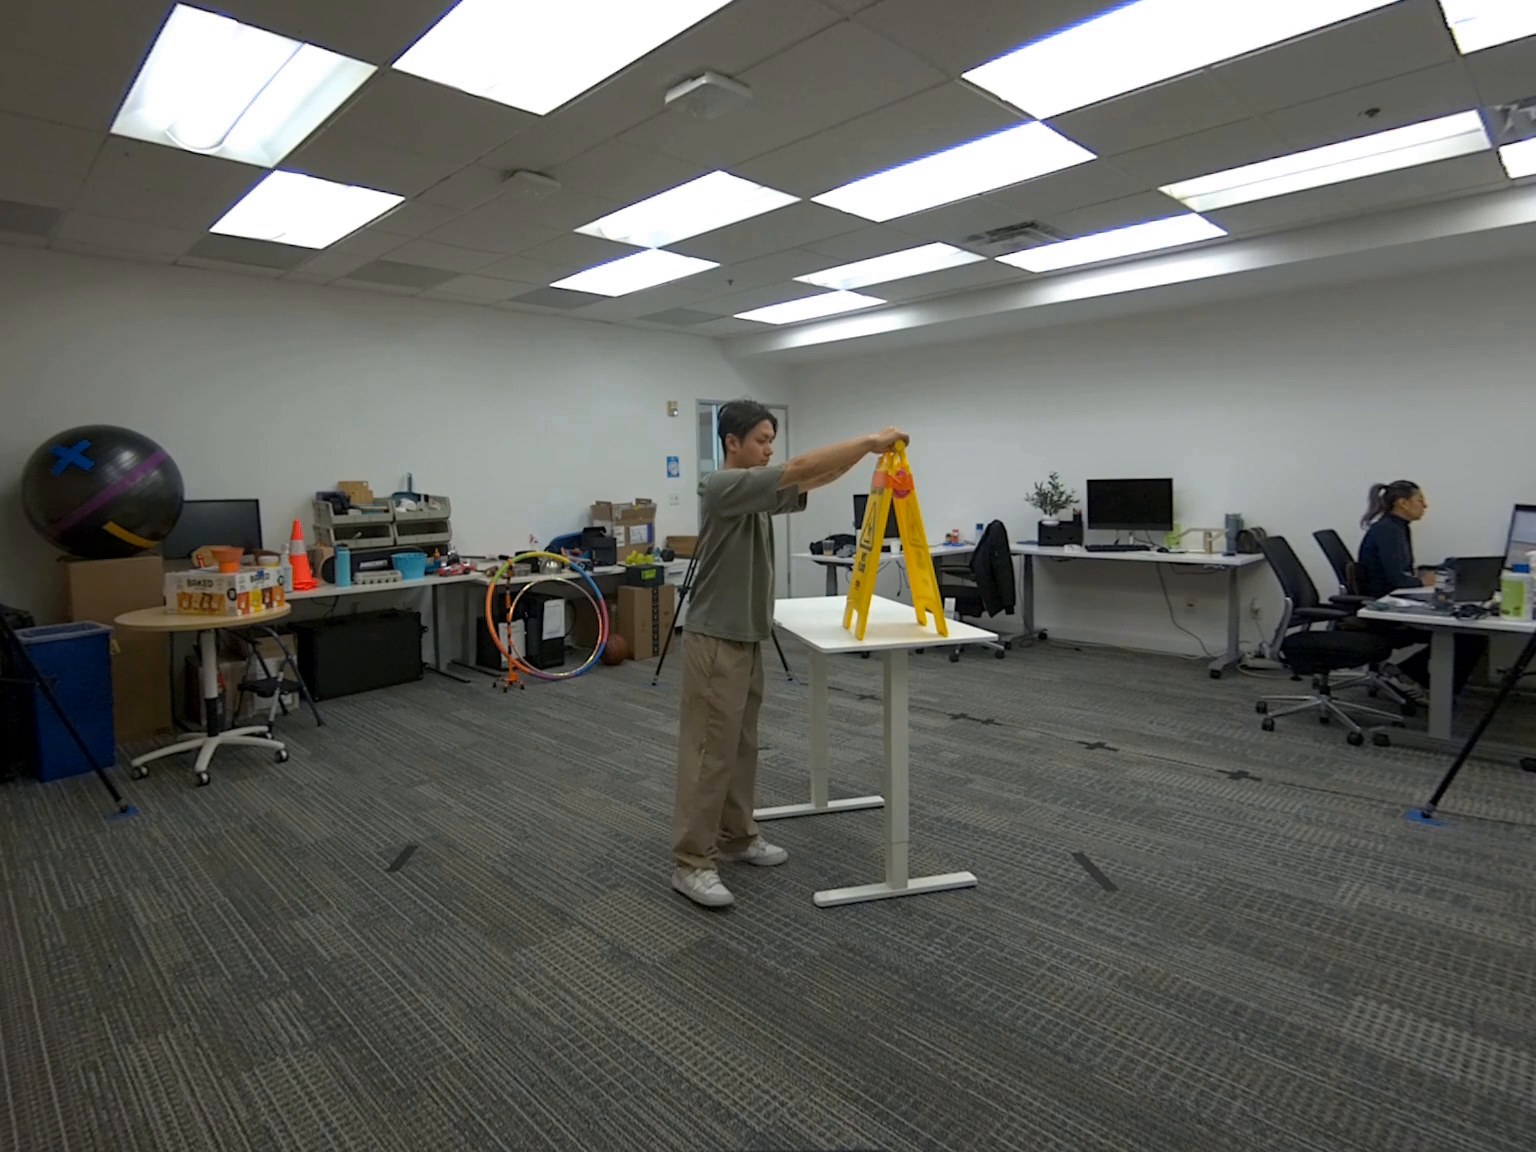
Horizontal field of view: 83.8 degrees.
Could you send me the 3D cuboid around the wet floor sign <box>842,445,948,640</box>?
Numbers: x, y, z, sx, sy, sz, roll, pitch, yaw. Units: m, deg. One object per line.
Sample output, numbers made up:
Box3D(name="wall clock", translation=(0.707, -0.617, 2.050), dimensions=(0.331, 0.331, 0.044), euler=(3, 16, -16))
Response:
Box3D(name="wet floor sign", translation=(0.412, -0.131, 2.826), dimensions=(0.288, 0.642, 0.285), euler=(-1, 6, -6))
